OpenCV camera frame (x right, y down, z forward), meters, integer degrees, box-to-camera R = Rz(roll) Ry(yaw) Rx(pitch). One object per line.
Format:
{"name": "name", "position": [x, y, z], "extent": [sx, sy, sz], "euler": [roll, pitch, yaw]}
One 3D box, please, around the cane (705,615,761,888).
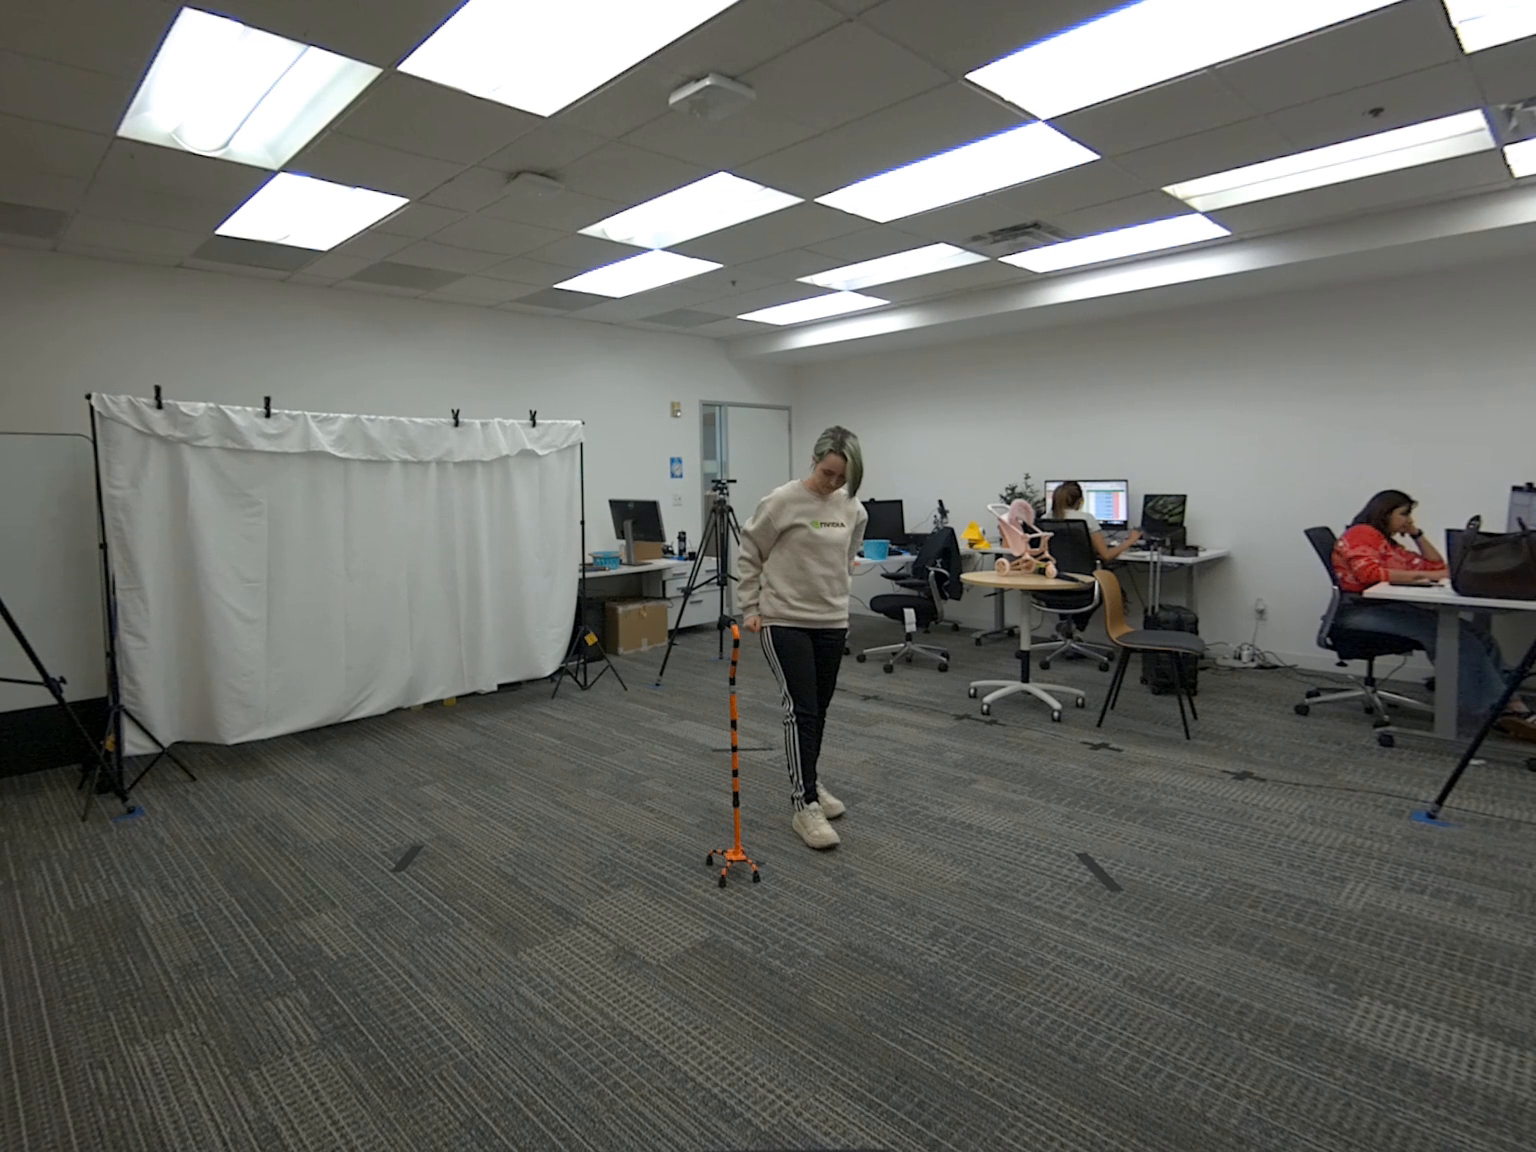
{"name": "cane", "position": [-0.134, 0.608, 3.020], "extent": [0.149, 0.905, 0.210], "euler": [-2, 3, -17]}
